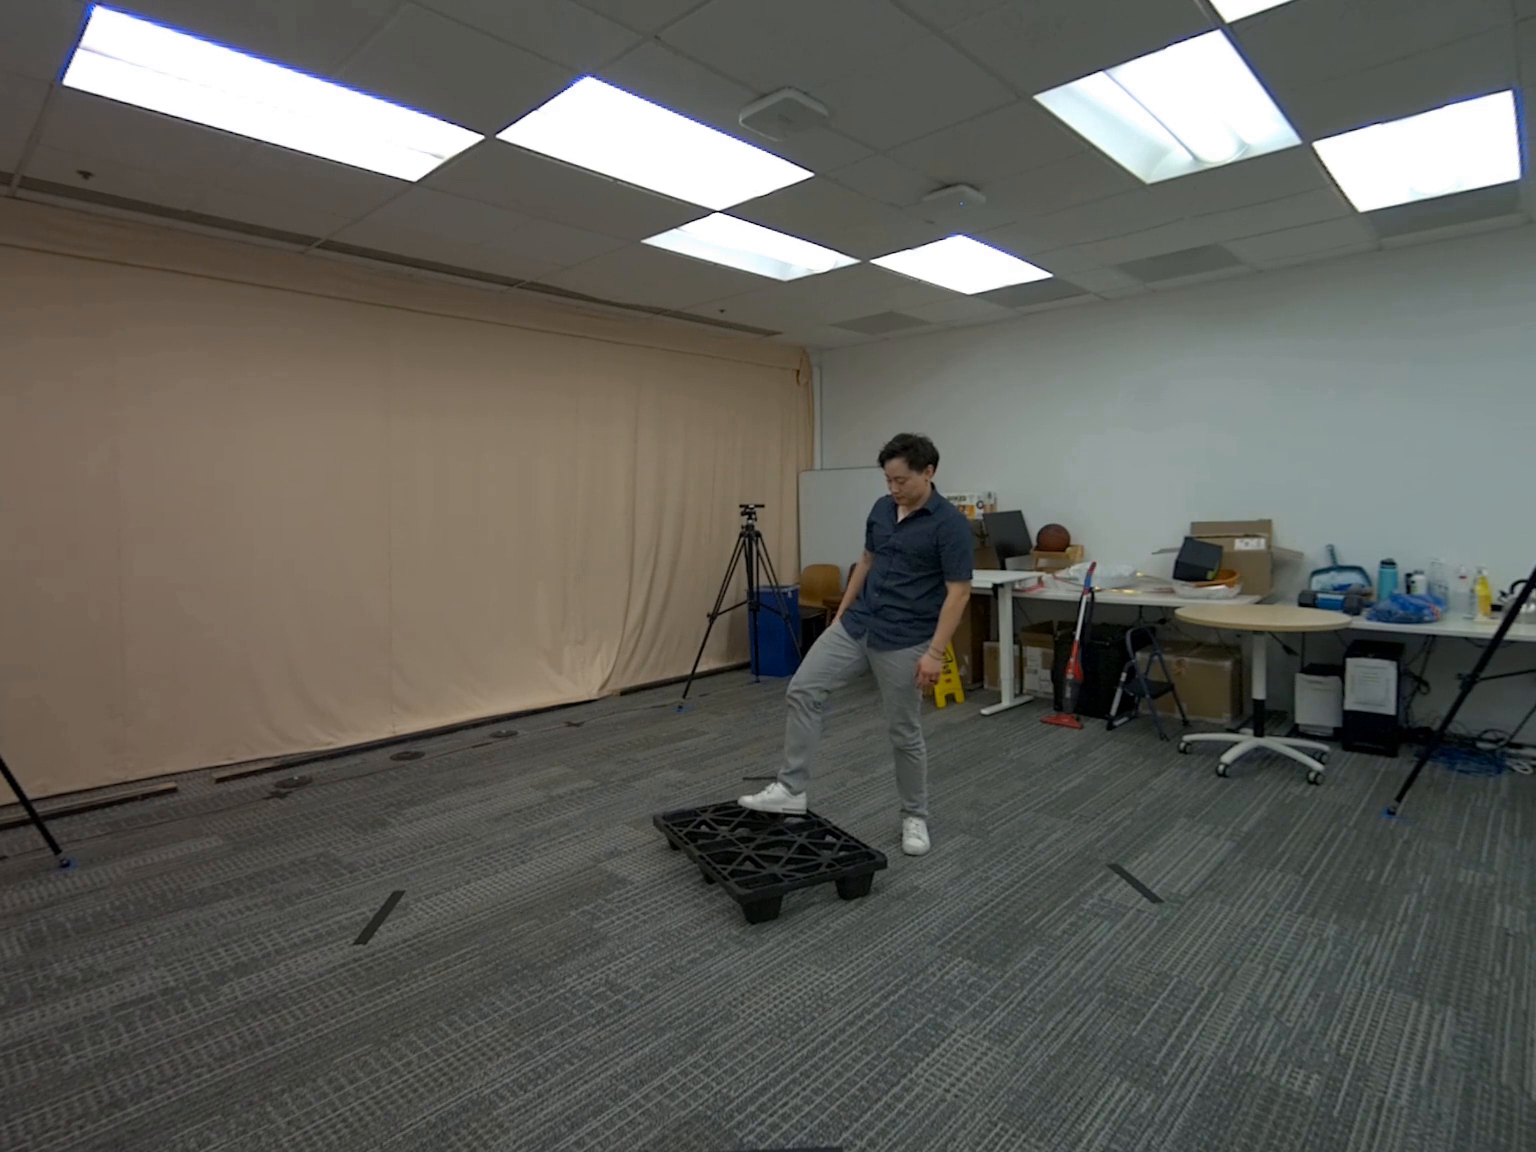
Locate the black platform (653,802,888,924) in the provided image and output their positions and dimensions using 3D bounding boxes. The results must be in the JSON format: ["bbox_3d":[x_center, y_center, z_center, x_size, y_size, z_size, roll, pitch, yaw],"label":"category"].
[{"bbox_3d":[-0.018,1.053,3.216,0.590,0.143,0.828,-3,5,-27],"label":"black platform"}]
